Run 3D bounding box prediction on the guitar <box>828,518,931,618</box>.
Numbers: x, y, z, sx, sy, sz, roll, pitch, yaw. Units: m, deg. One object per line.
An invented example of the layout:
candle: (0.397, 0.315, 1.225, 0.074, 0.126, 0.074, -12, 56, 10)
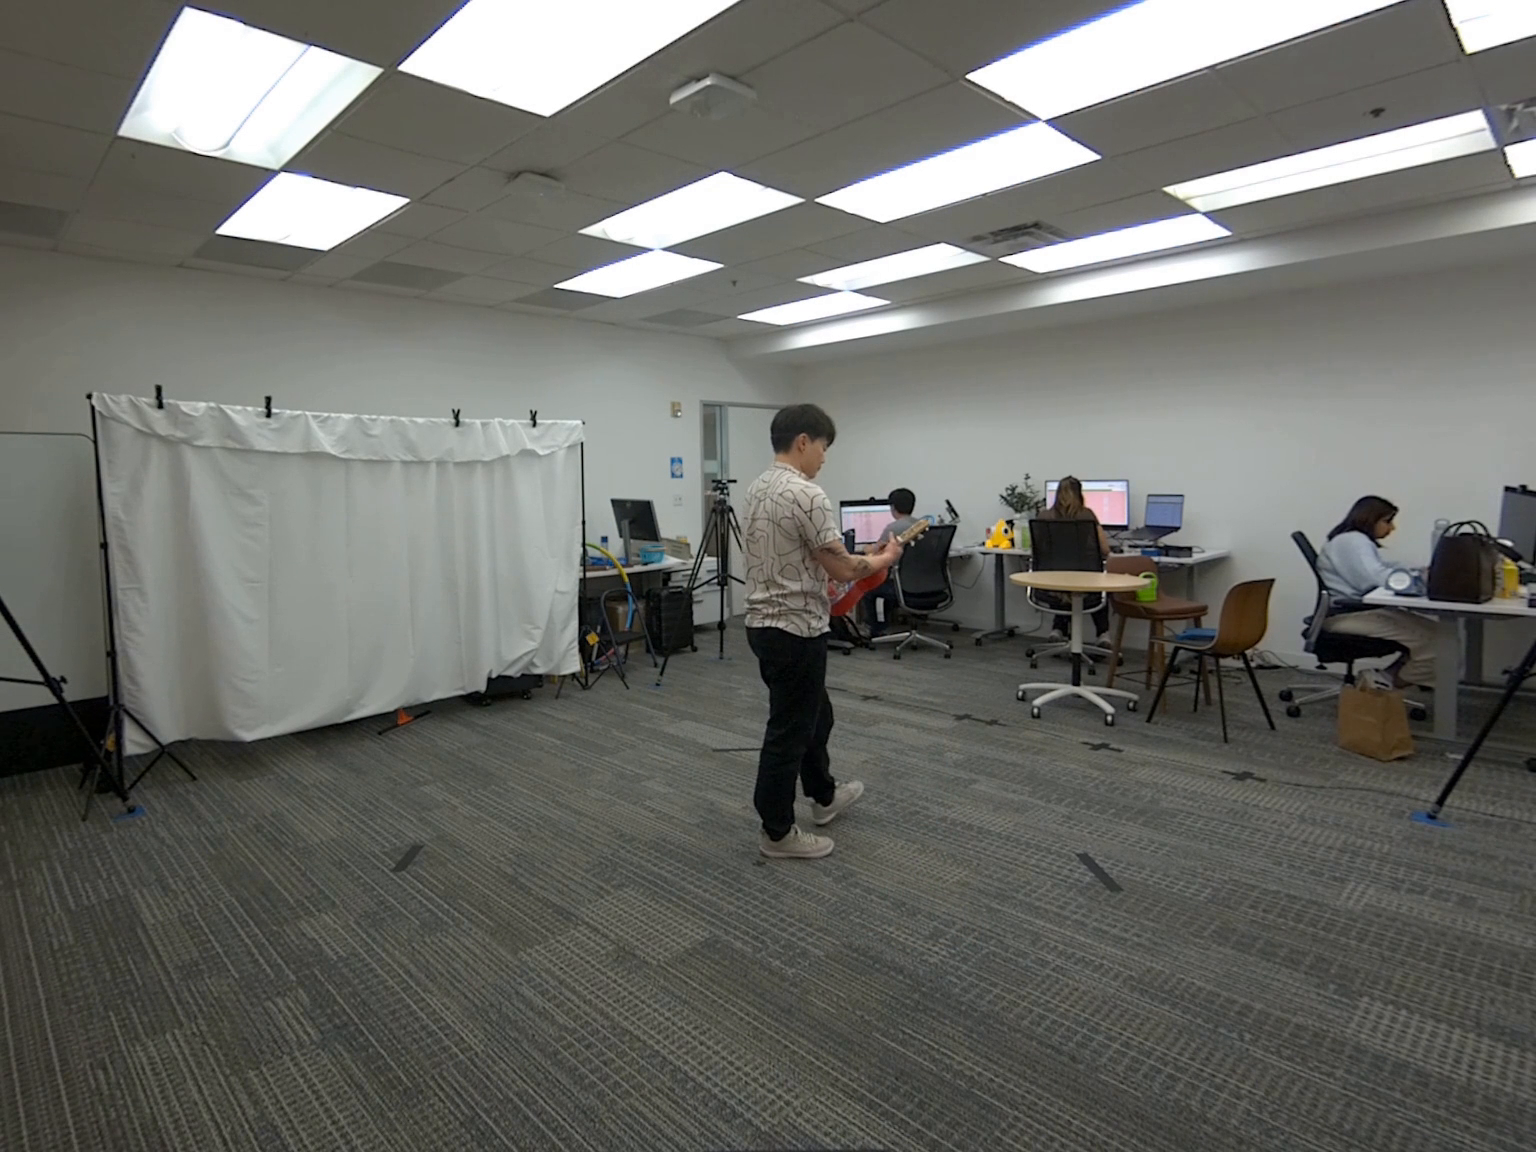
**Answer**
guitar: (0.410, -0.029, 3.156, 0.500, 0.069, 0.197, -32, 25, 16)
